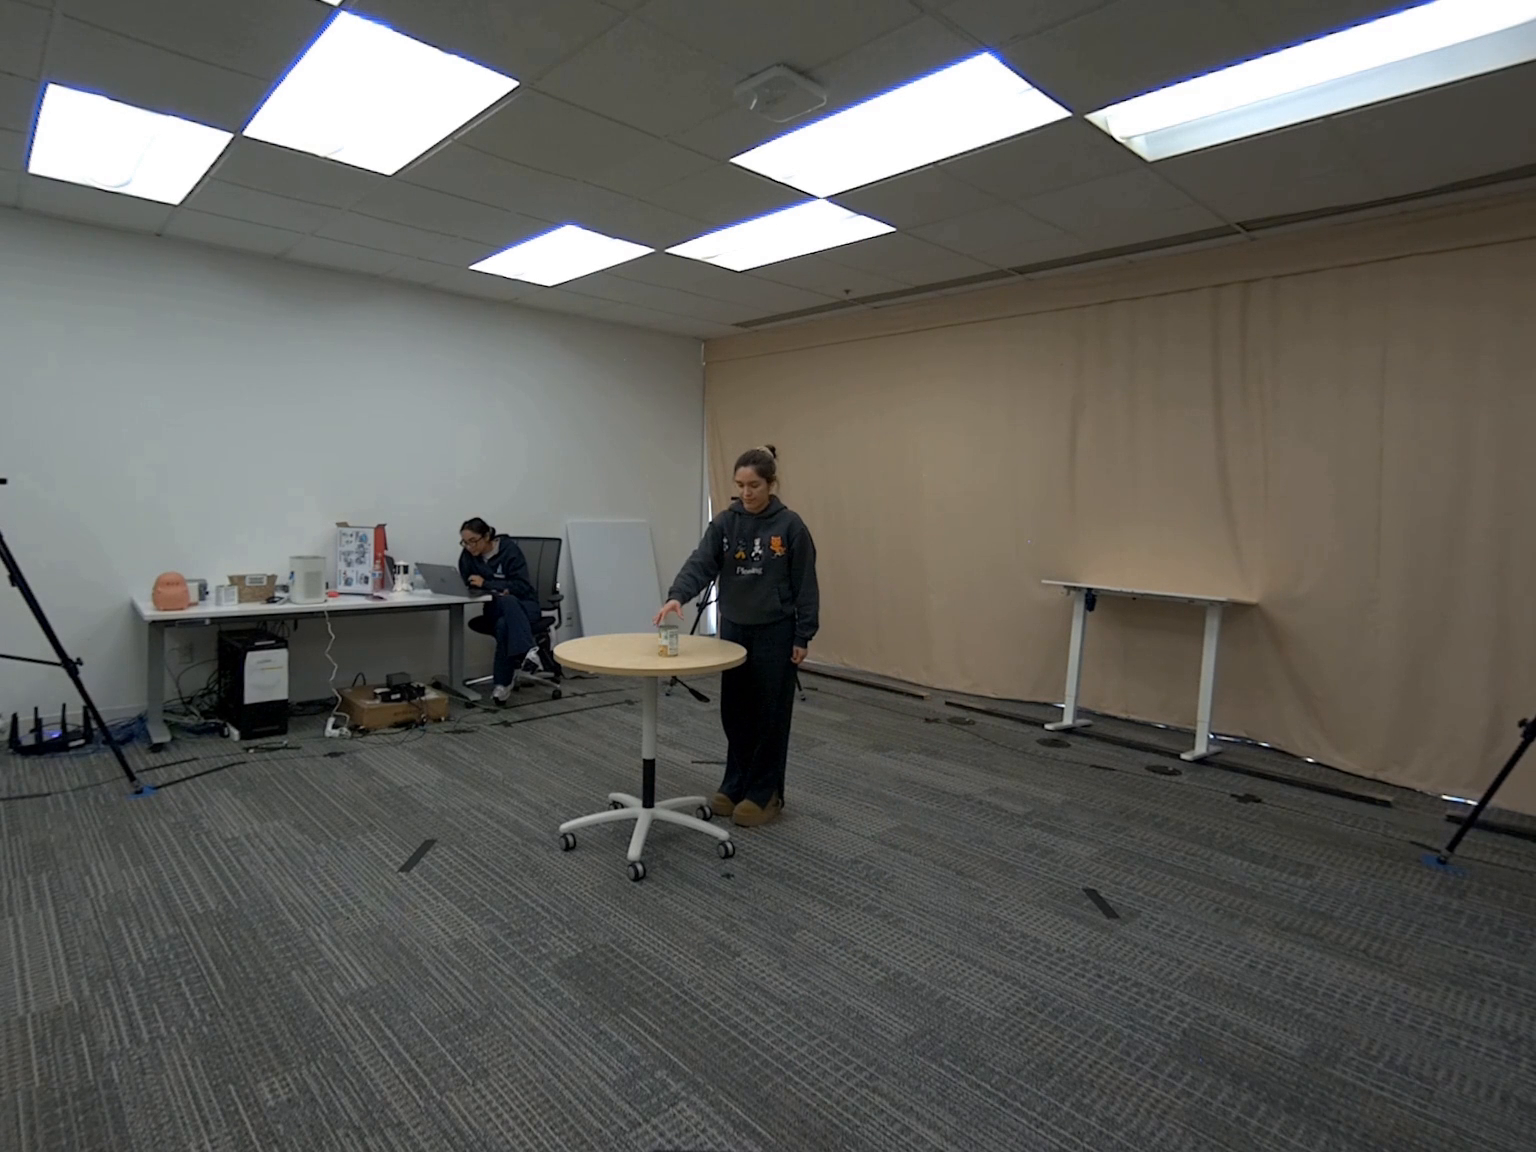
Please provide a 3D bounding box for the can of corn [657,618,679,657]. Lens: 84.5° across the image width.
[{"bbox_3d":[-0.396,0.250,3.244,0.074,0.111,0.074,2,3,-1],"label":"can of corn"}]
